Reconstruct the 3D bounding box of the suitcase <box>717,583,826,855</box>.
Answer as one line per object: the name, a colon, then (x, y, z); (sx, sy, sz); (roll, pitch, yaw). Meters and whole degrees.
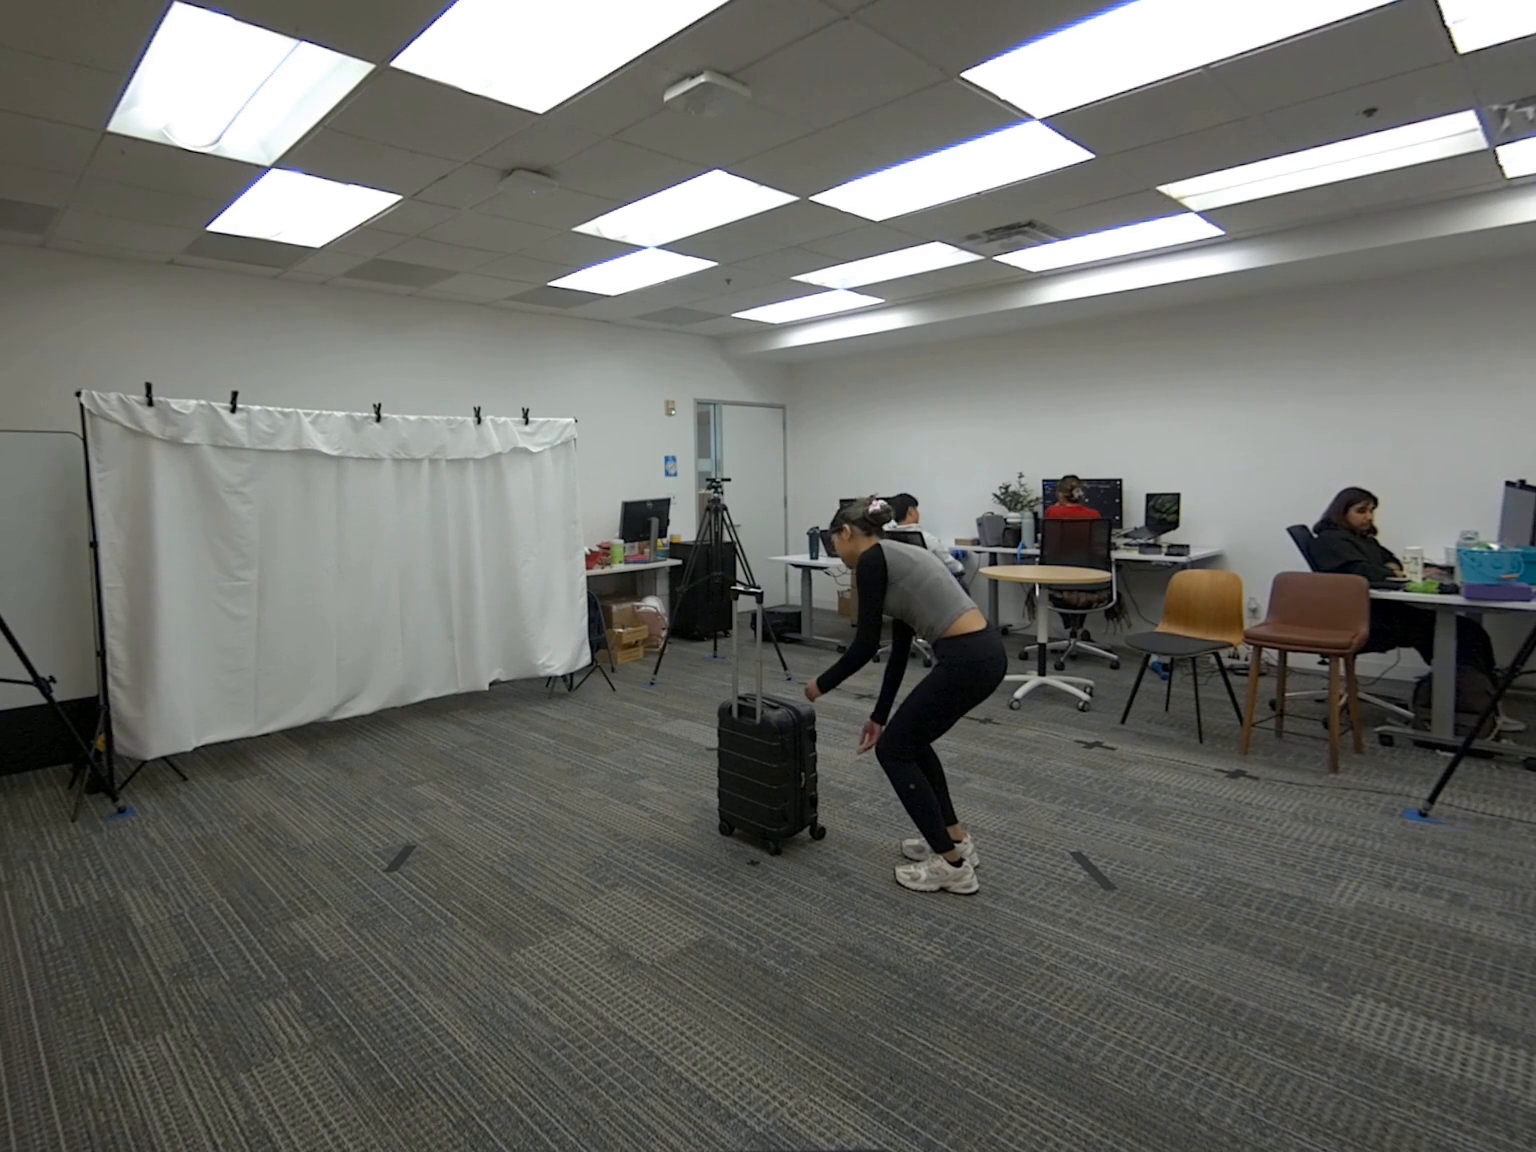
suitcase: (-0.007, 0.540, 3.317); (0.396, 0.976, 0.250); (3, 4, 44)
